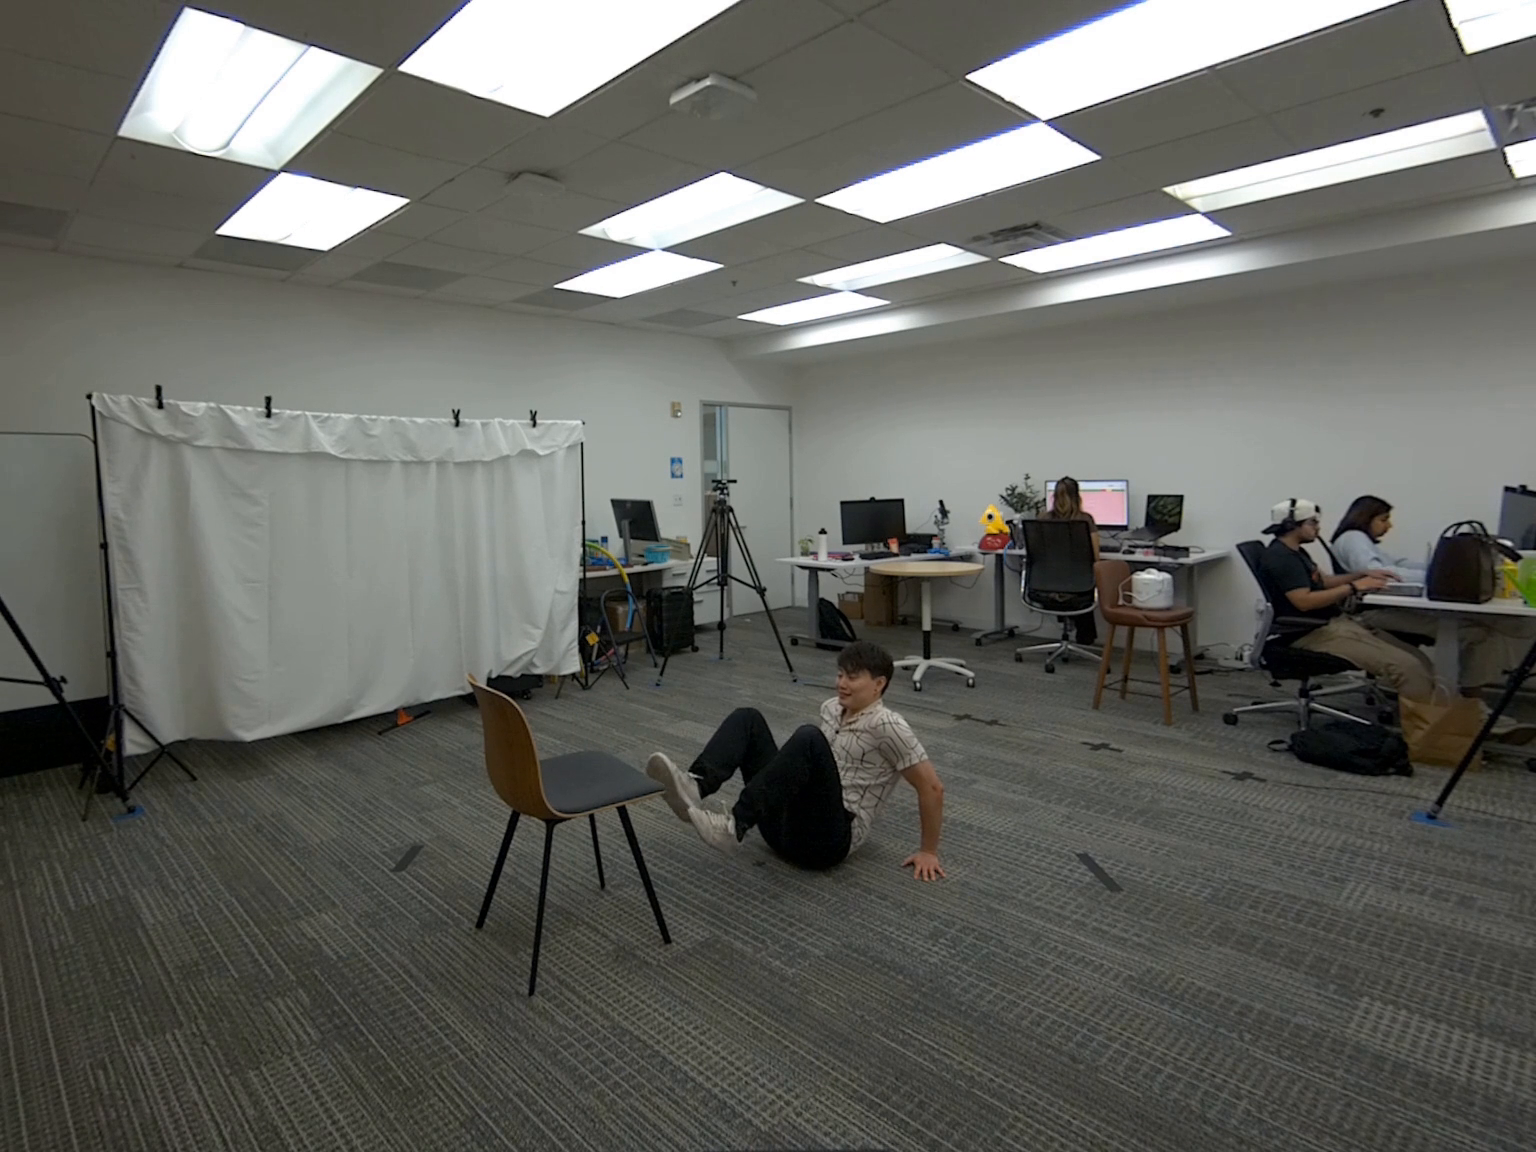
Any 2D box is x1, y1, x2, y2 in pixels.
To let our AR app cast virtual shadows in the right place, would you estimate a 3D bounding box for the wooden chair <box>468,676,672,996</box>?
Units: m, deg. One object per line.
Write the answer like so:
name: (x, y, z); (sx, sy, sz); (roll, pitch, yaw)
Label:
wooden chair: (-0.608, 0.689, 2.615); (0.511, 0.872, 0.492); (-9, 8, -35)
